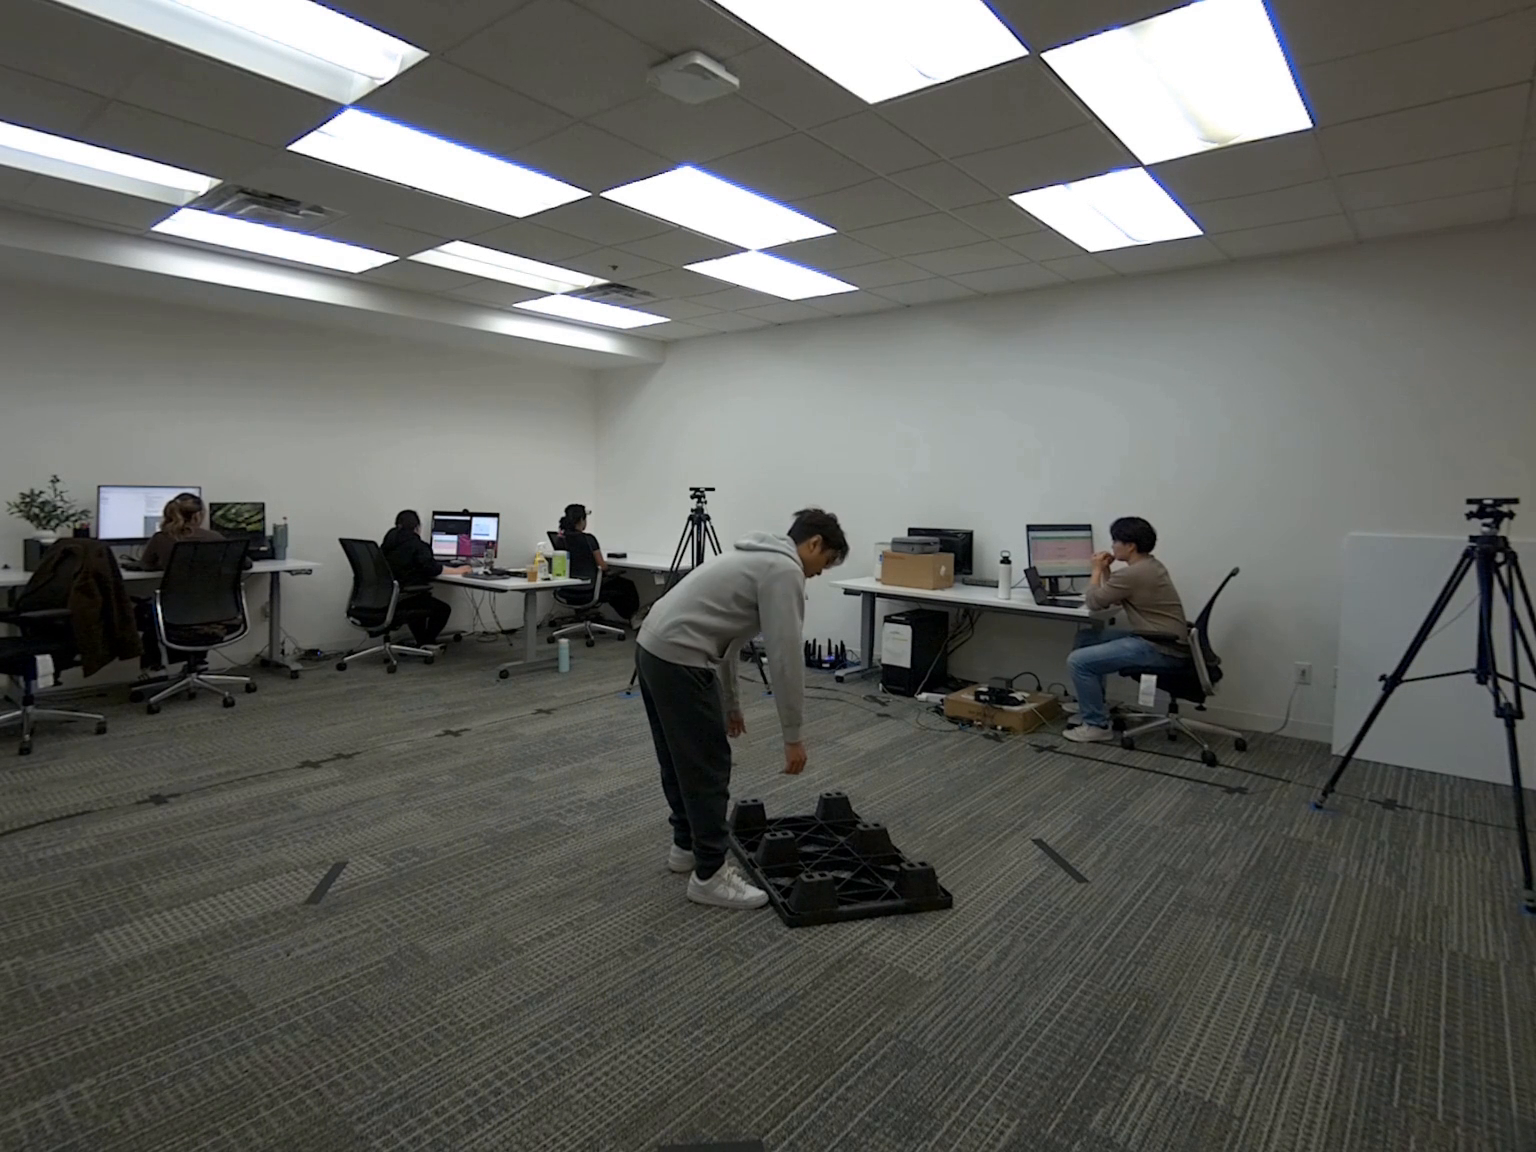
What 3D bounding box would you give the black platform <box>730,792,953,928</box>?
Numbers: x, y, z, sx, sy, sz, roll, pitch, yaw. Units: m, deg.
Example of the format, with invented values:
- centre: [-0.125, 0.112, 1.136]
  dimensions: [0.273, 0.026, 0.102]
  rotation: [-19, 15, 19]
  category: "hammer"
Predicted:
- centre: [0.201, 1.005, 3.152]
  dimensions: [0.594, 0.143, 0.824]
  rotation: [0, 5, -19]
  category: "black platform"
